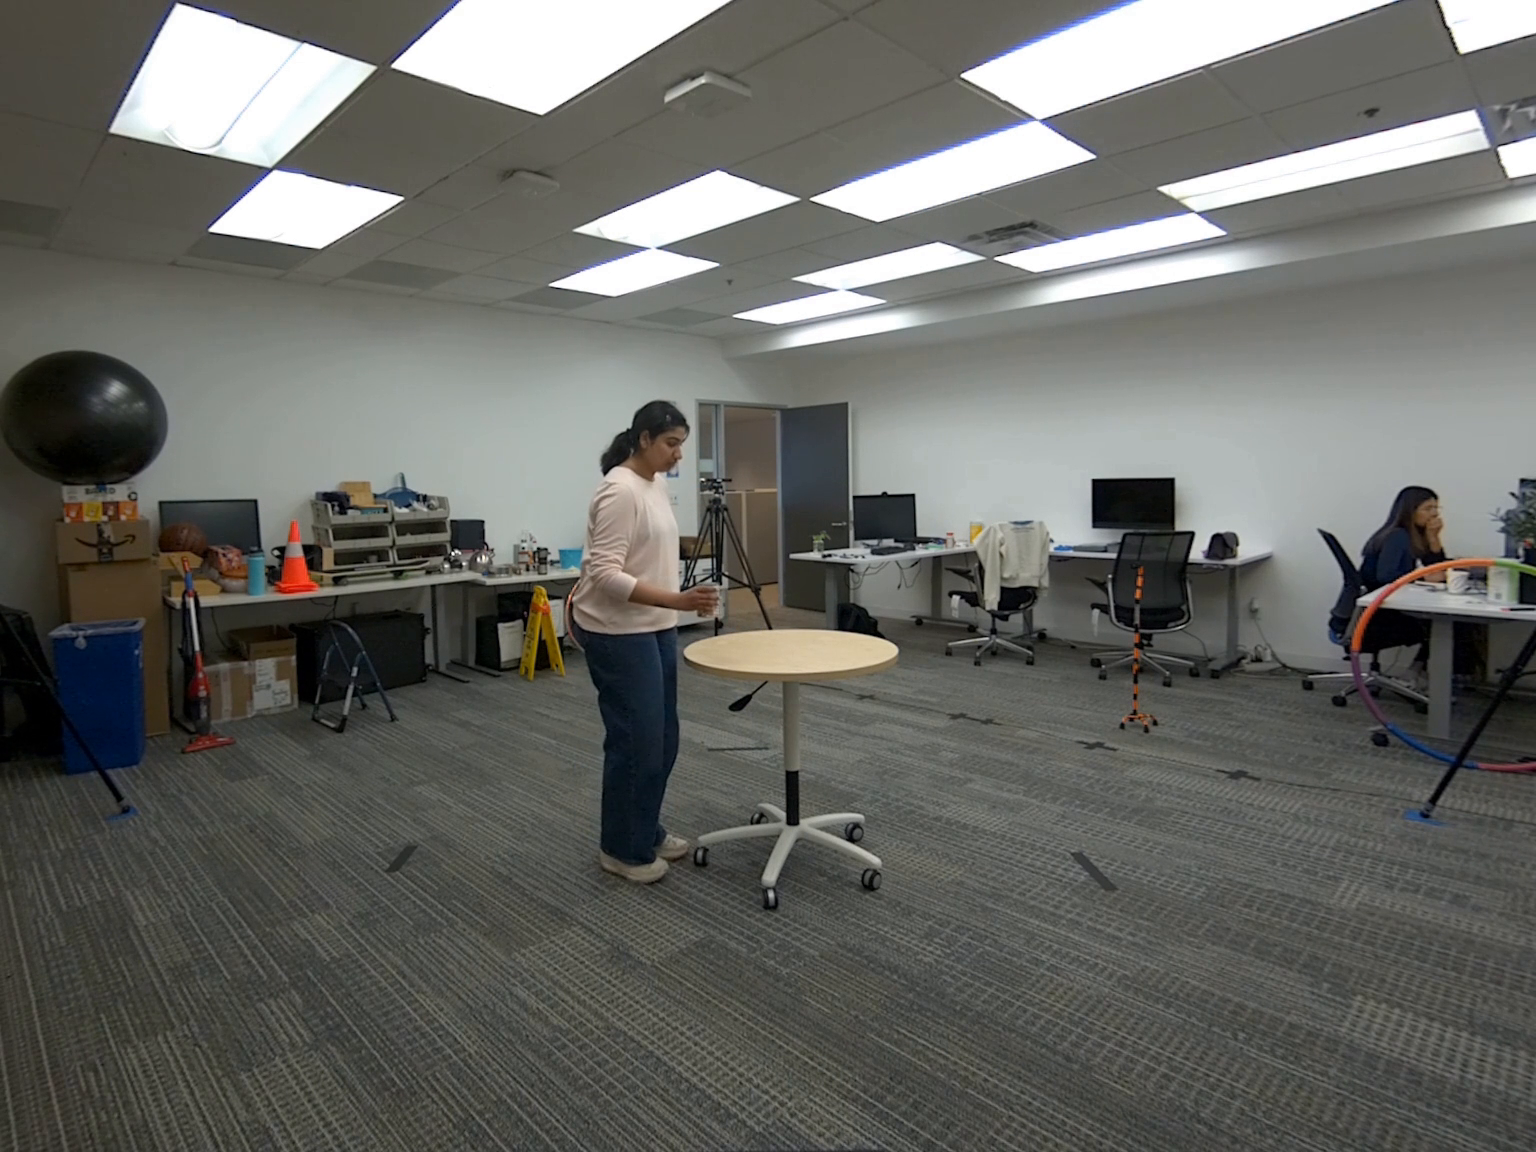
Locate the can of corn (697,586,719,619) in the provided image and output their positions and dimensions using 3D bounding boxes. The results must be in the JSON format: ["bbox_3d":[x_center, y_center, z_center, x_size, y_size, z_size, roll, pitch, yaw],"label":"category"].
[{"bbox_3d":[-0.196,0.084,2.856,0.074,0.111,0.074,-2,4,-1],"label":"can of corn"}]
